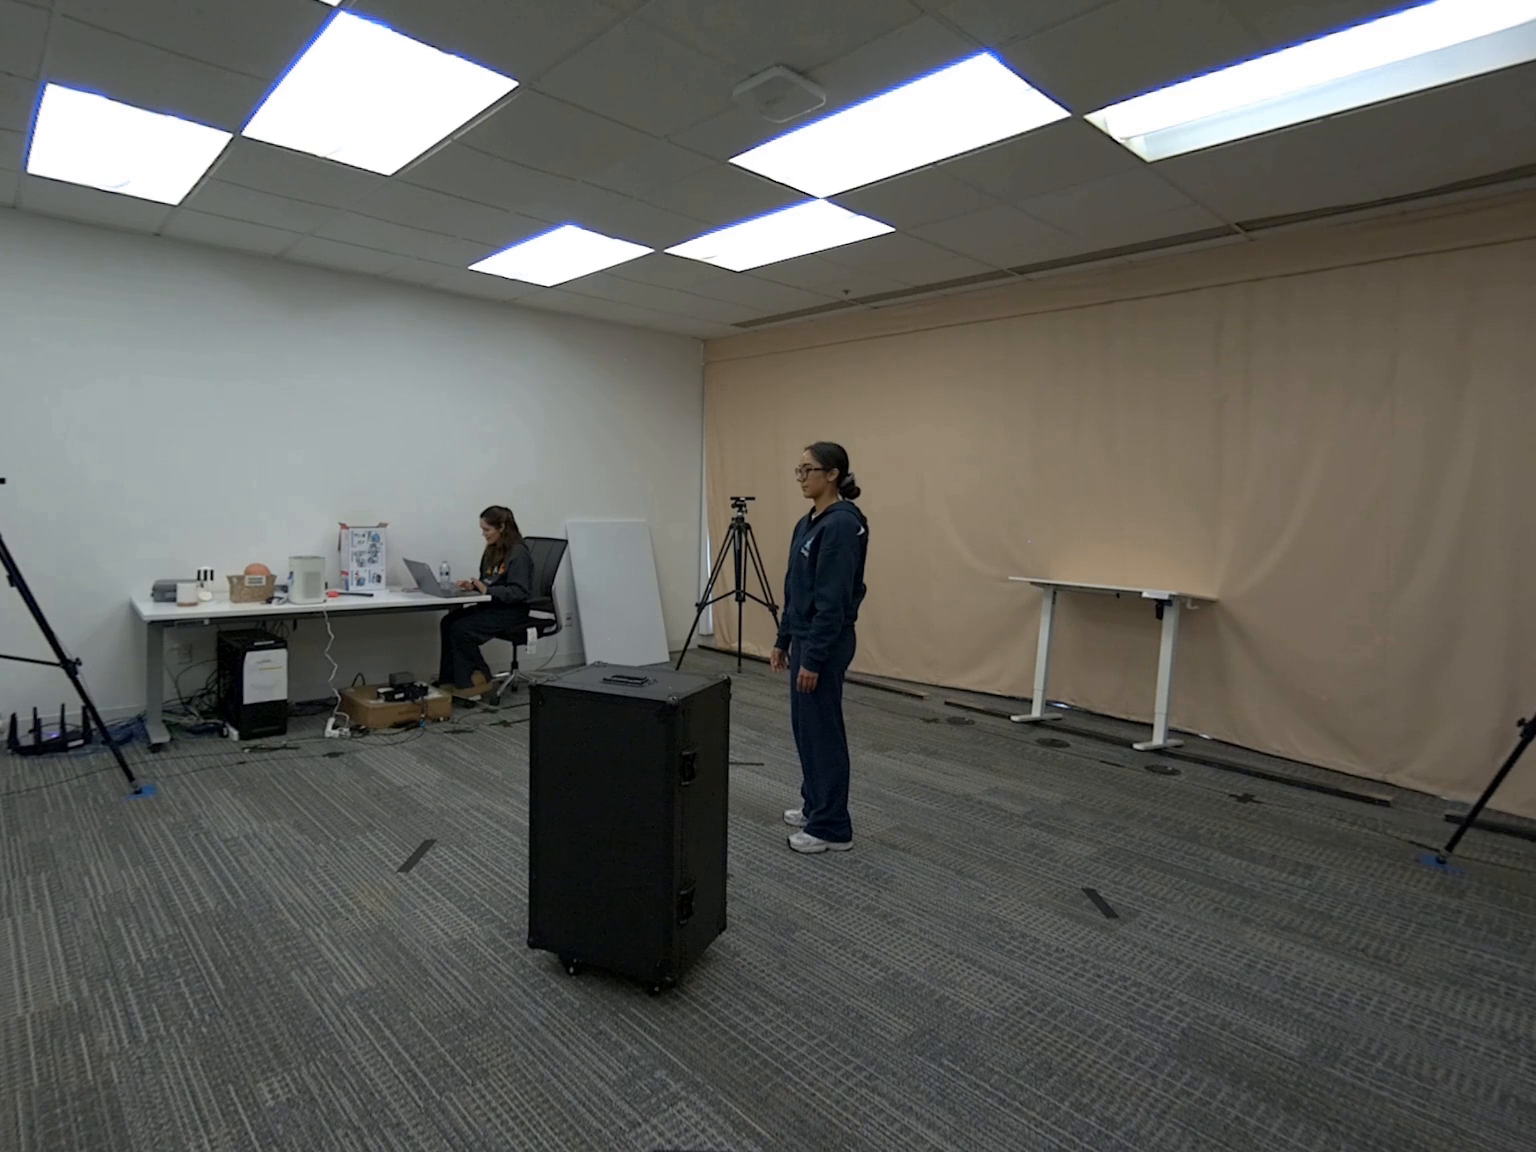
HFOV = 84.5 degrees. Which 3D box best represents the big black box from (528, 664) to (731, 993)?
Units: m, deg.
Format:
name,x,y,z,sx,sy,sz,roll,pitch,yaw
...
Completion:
name,x,y,z,sx,sy,sz,roll,pitch,yaw
big black box,-0.411,0.732,2.510,0.531,0.860,0.390,2,2,23
